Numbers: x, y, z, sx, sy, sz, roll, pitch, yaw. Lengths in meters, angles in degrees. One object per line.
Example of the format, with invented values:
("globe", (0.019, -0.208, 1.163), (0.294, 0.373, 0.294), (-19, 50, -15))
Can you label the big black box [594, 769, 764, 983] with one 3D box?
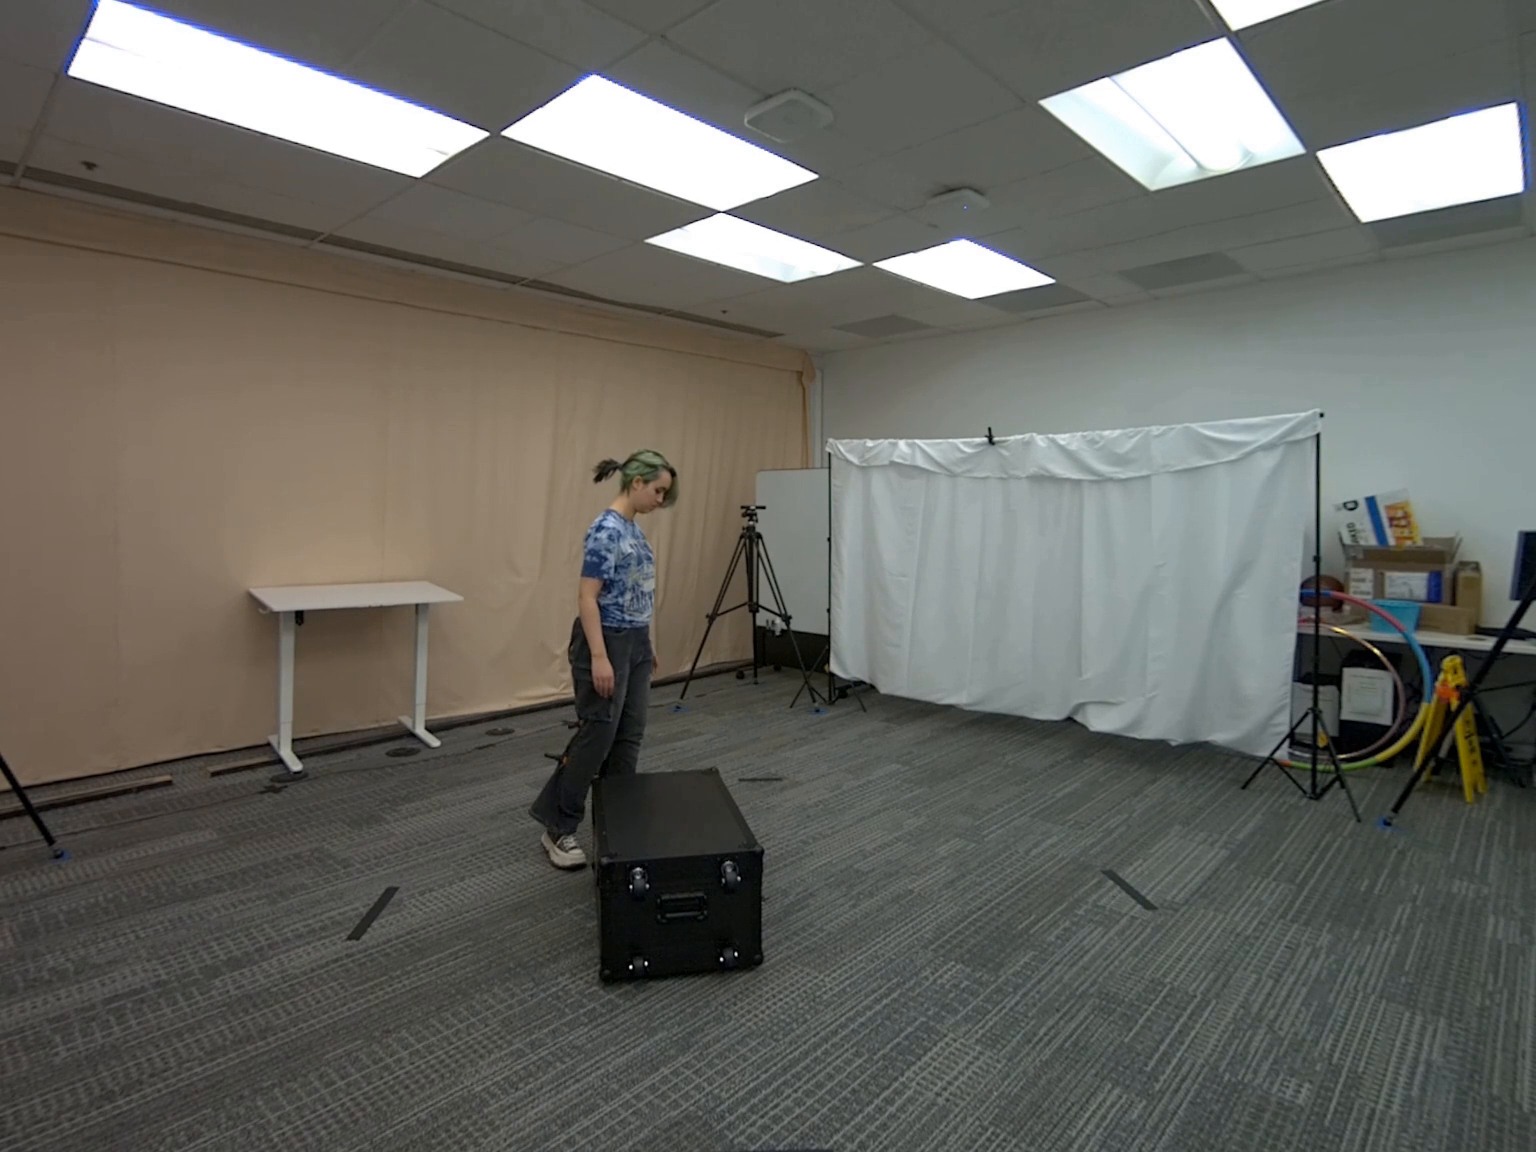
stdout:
("big black box", (-0.340, 0.964, 2.867), (0.515, 0.395, 0.874), (-1, 5, -13))
